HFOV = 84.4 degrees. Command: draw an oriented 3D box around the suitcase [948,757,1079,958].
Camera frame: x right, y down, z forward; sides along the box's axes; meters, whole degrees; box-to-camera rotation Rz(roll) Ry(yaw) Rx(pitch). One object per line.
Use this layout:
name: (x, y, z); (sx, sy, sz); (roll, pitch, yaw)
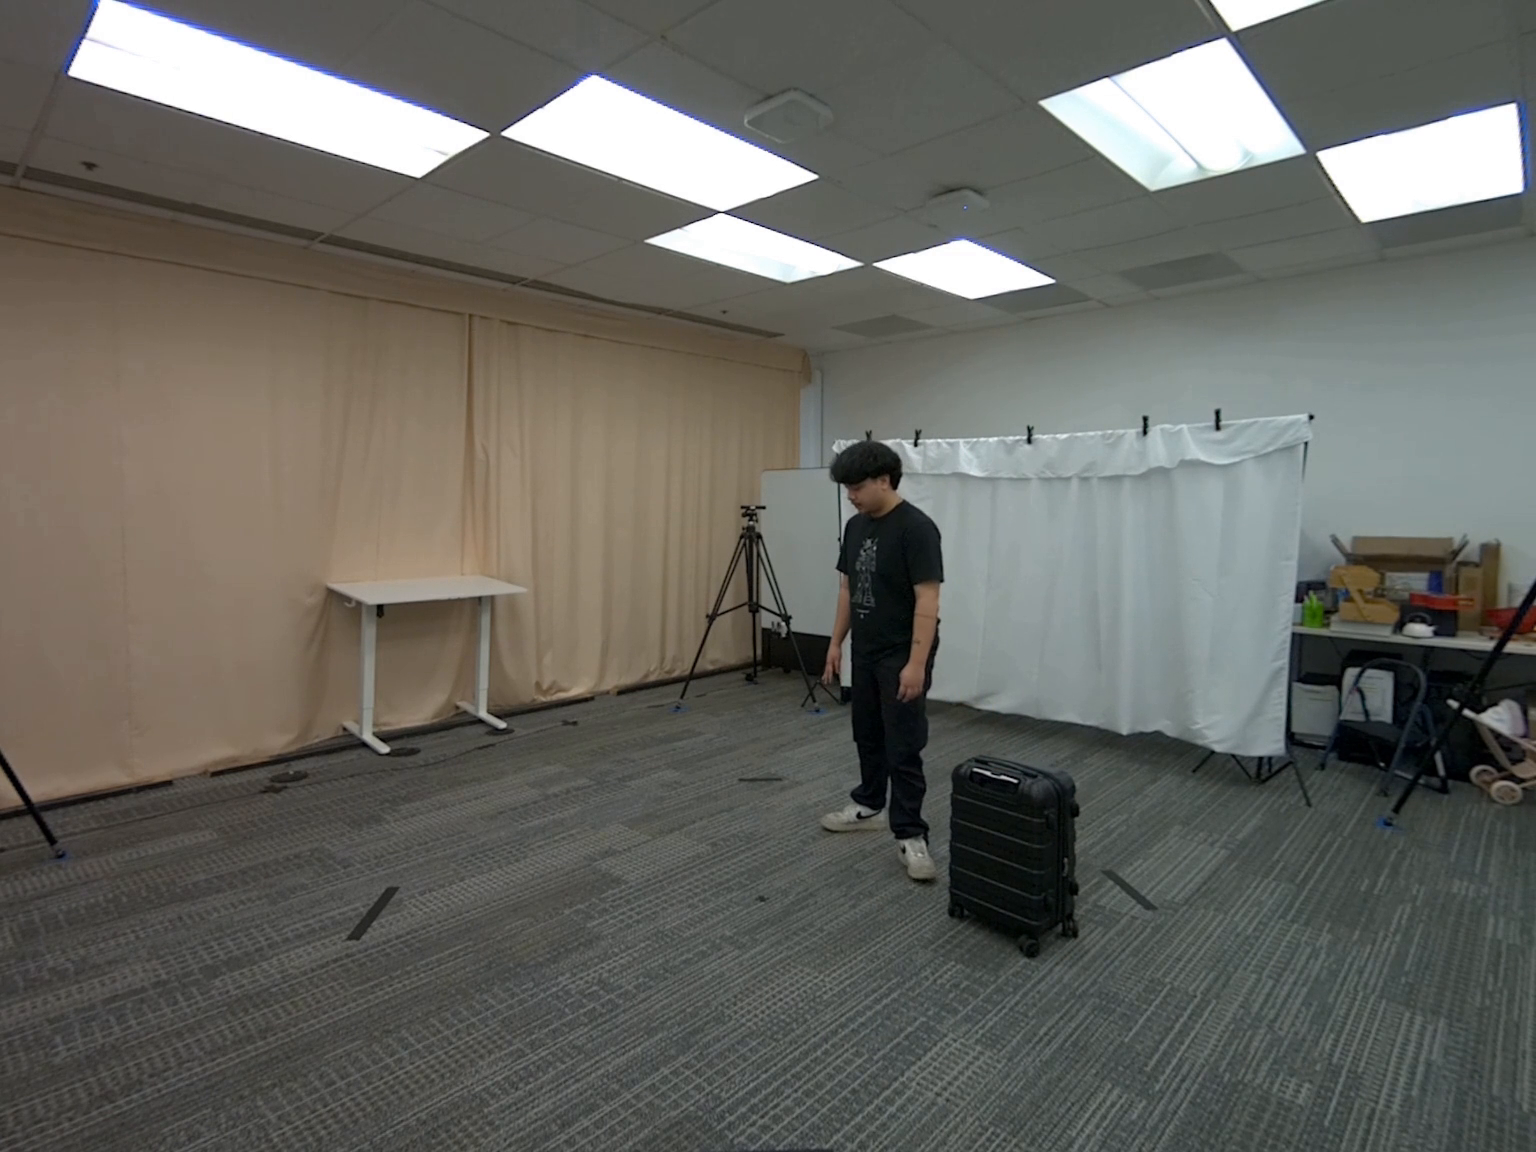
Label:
suitcase: (0.814, 0.885, 2.778); (0.241, 0.548, 0.388); (-2, 4, -40)
